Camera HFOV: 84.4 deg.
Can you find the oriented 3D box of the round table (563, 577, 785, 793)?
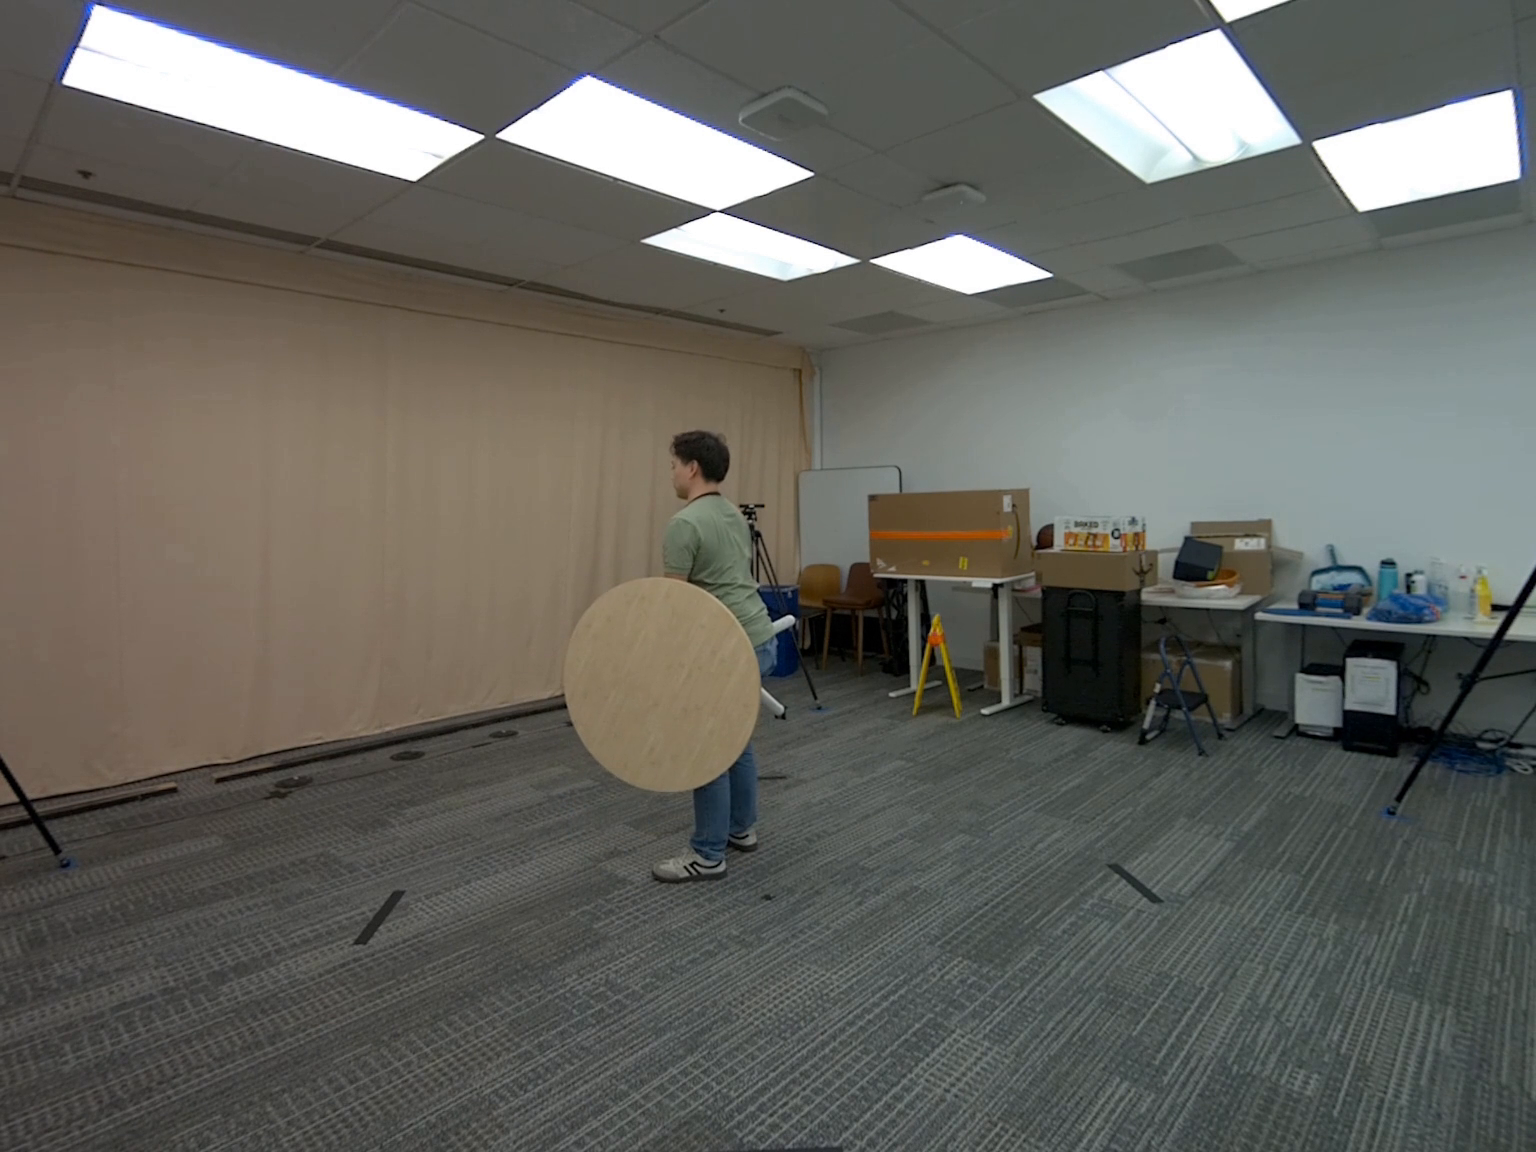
[{"bbox_3d":[-0.280,0.378,3.374,0.780,0.763,0.779,0,3,19],"label":"round table"}]
